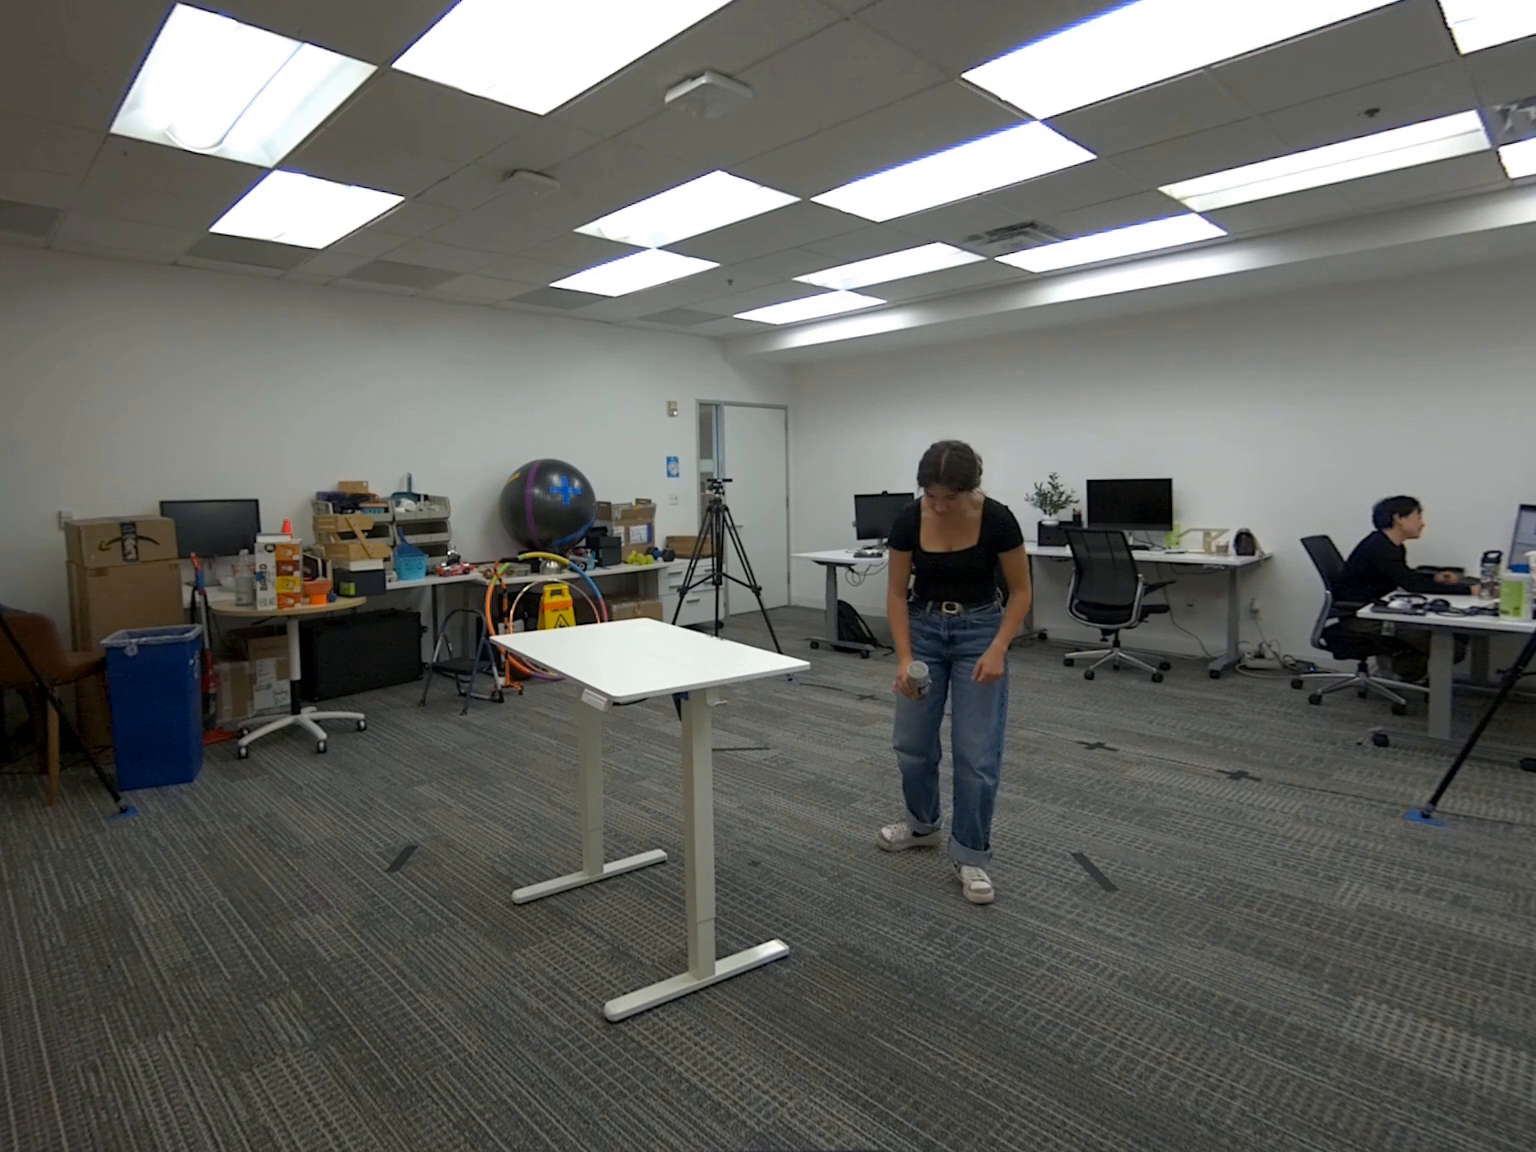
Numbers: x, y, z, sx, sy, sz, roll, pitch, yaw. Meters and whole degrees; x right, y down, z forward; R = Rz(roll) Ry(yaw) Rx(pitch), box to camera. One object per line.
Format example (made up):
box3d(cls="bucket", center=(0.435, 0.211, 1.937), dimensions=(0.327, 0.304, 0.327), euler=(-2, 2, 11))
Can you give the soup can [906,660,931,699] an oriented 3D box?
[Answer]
box3d(cls="soup can", center=(0.483, 0.347, 2.757), dimensions=(0.067, 0.118, 0.069), euler=(-3, 34, 0))
